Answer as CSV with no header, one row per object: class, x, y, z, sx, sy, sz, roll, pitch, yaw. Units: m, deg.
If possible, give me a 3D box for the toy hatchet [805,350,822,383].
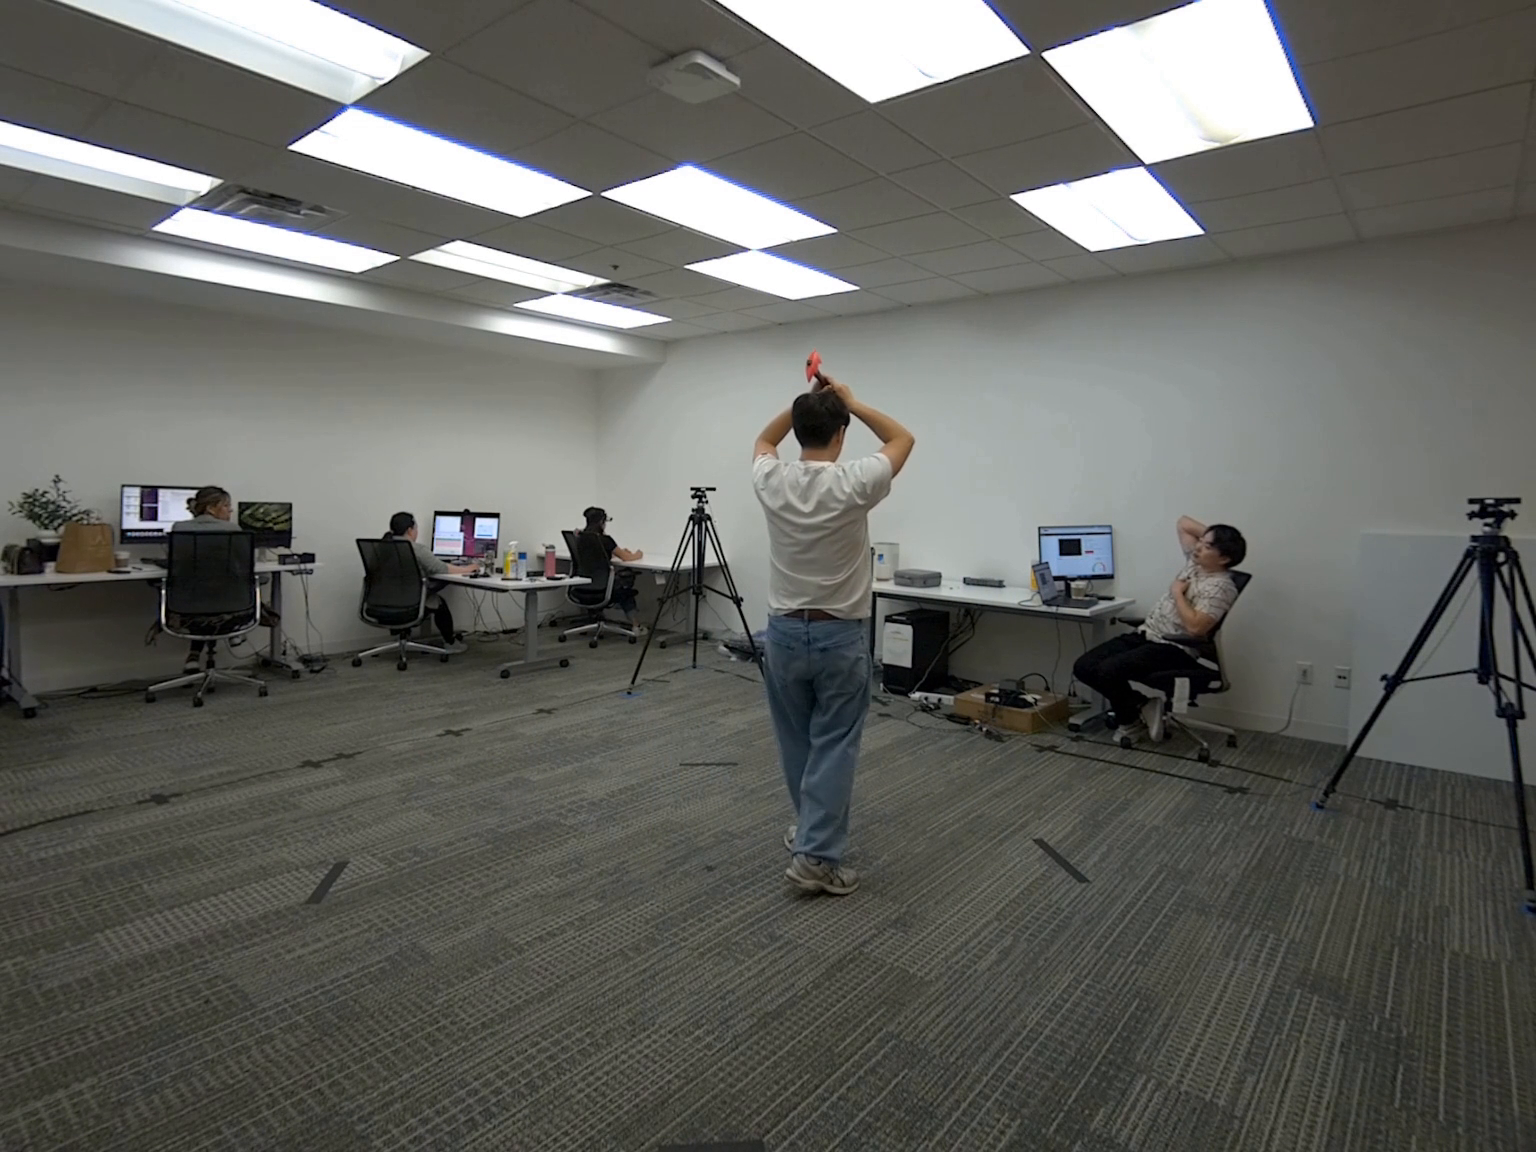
toy hatchet,0.198,-0.749,3.128,0.030,0.132,0.261,-4,-7,31
